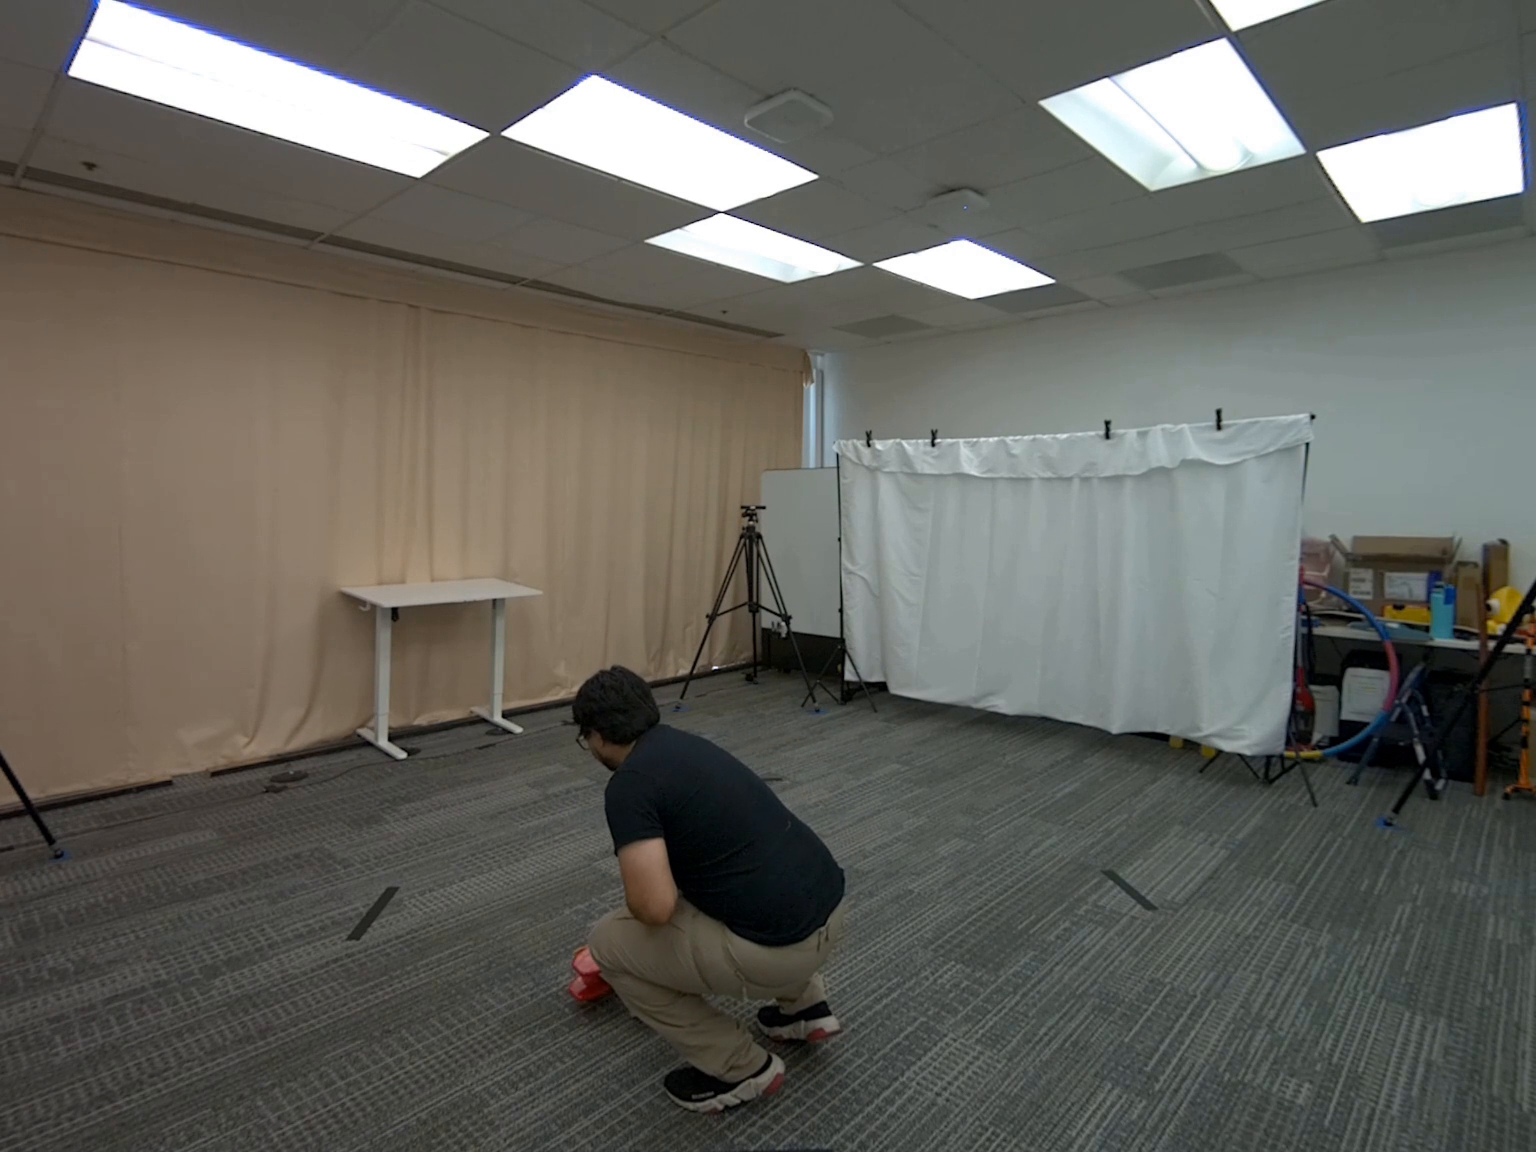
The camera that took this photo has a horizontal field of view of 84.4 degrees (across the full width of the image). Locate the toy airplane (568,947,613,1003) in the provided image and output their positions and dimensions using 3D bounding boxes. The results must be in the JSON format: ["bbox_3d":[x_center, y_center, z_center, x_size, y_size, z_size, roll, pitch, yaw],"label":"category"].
[{"bbox_3d":[-0.411,1.122,2.378,0.262,0.156,0.249,-3,5,10],"label":"toy airplane"}]
